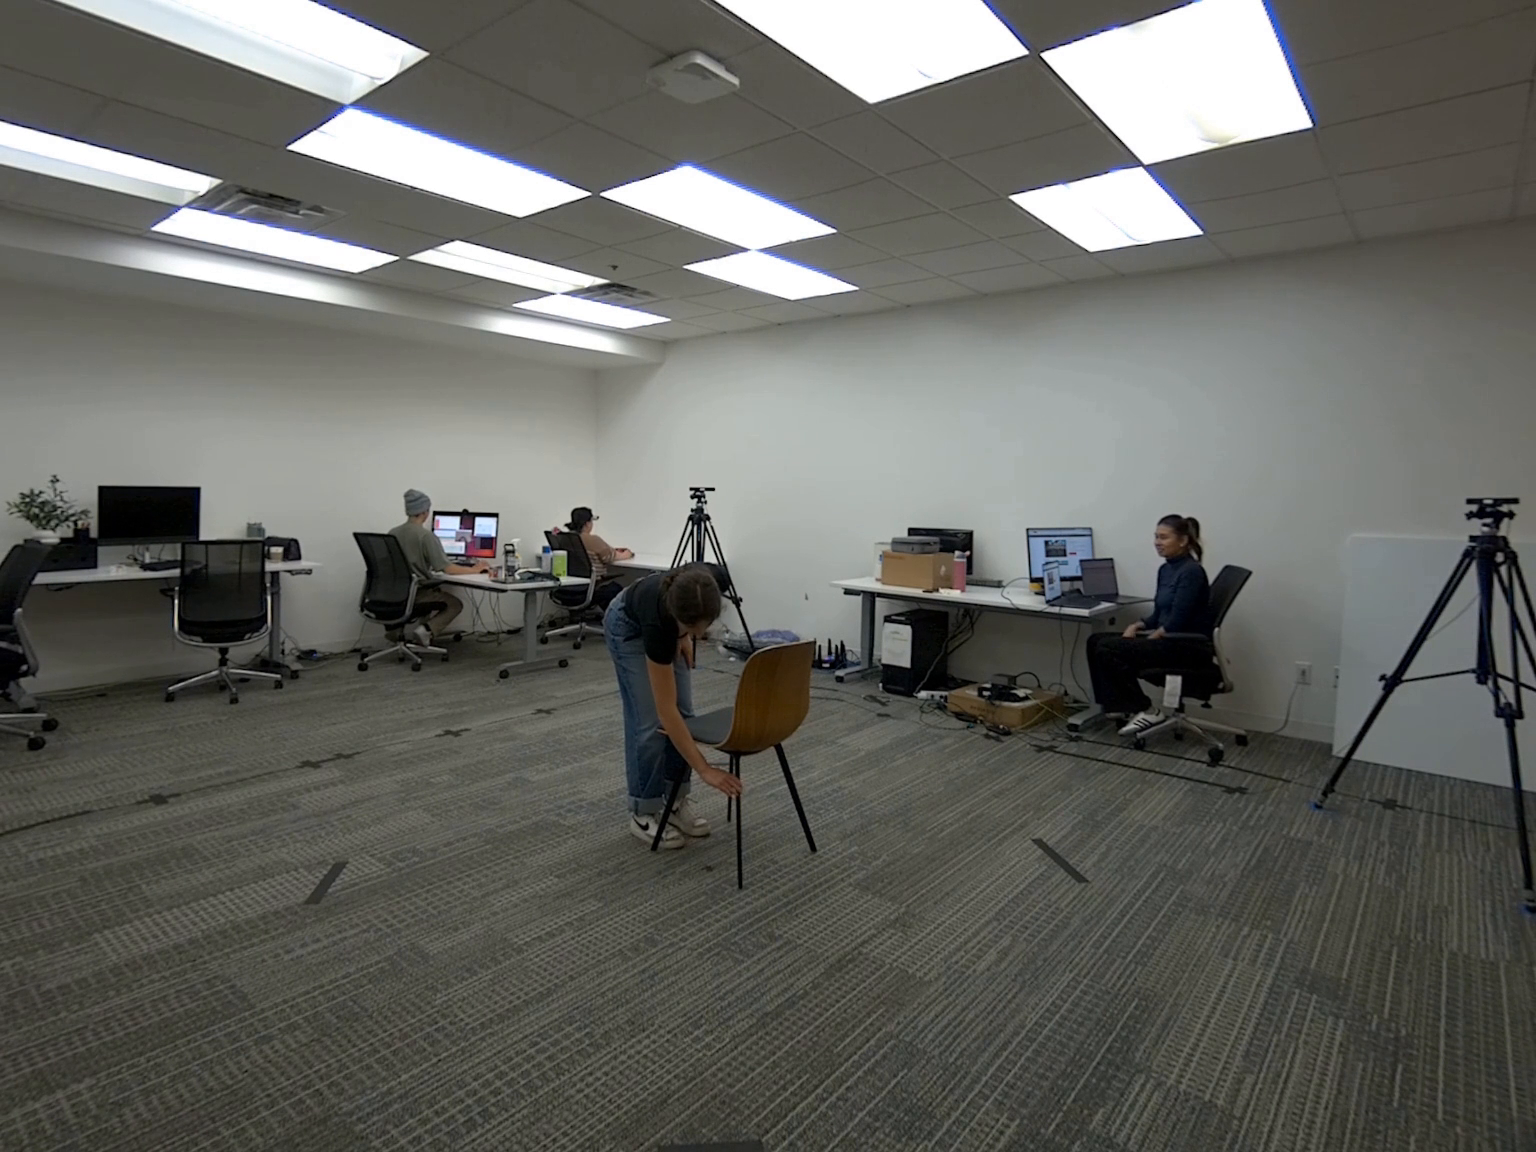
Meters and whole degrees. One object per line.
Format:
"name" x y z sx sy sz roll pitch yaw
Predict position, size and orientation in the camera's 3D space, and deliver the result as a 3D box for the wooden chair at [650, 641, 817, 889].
"wooden chair" -0.131 0.629 3.239 0.542 0.873 0.464 9 8 40
